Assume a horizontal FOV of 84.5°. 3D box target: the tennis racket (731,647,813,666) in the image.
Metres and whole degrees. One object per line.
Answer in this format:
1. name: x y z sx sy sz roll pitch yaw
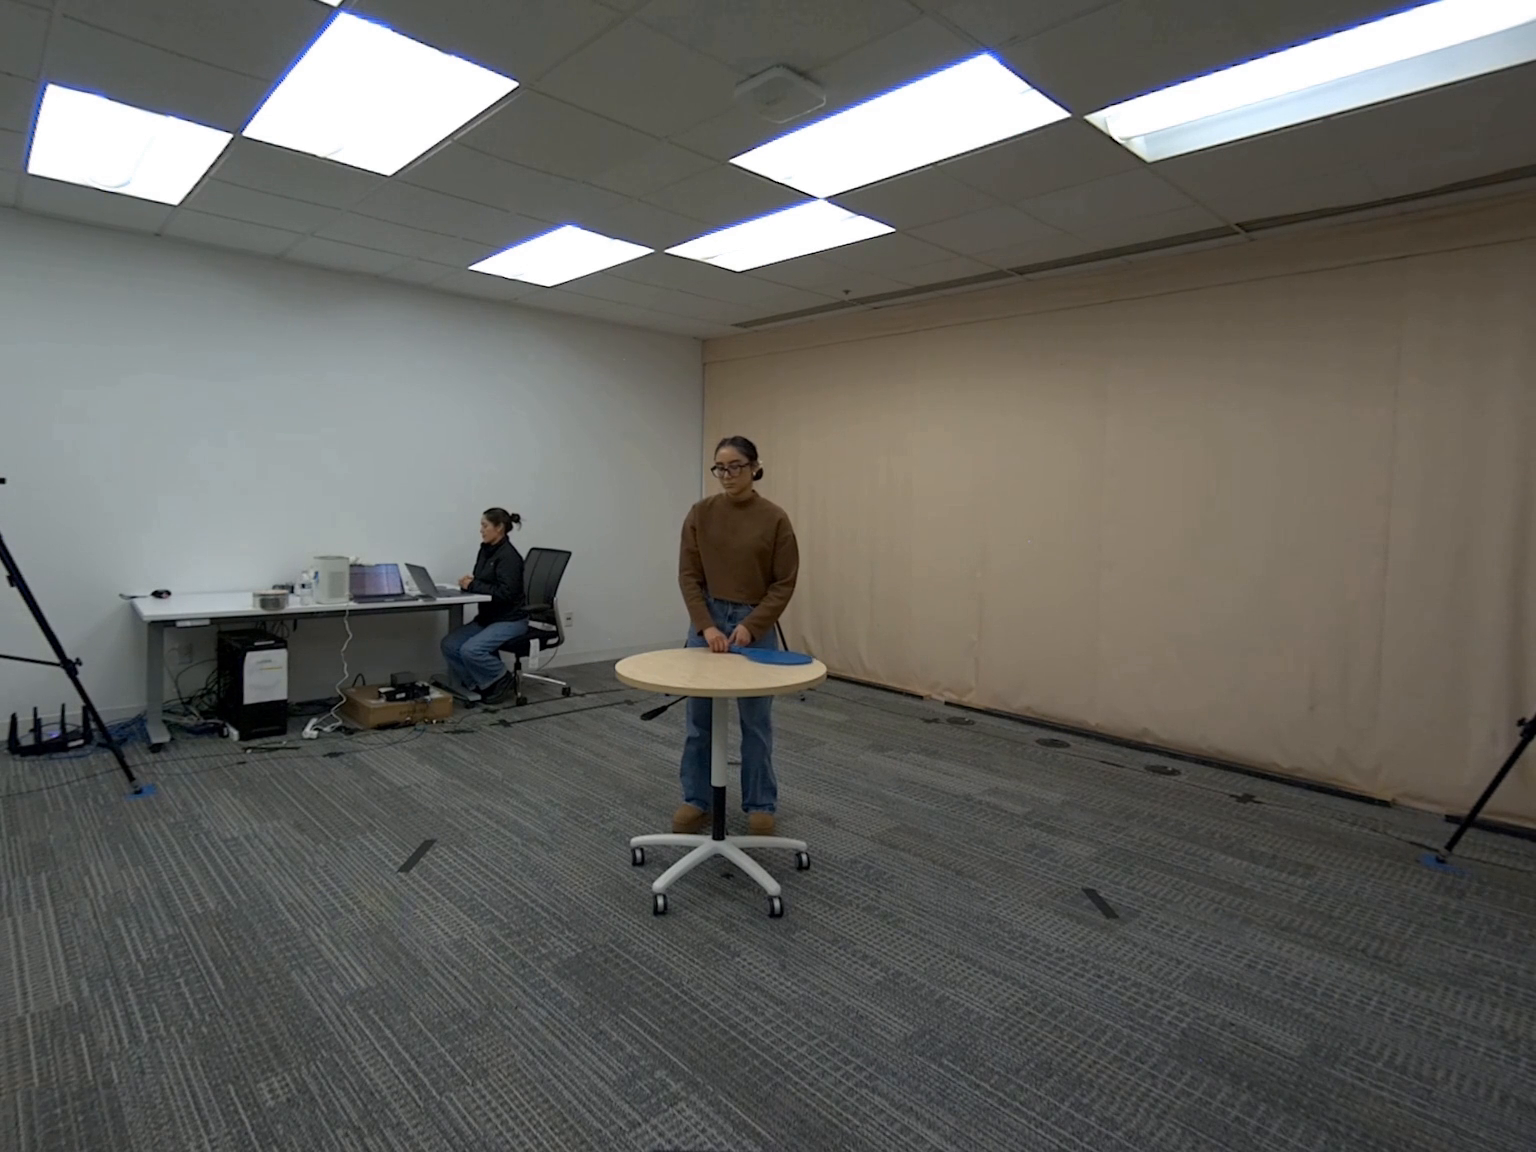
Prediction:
1. tennis racket: -0.024 0.306 3.261 0.209 0.031 0.444 -3 7 -39
